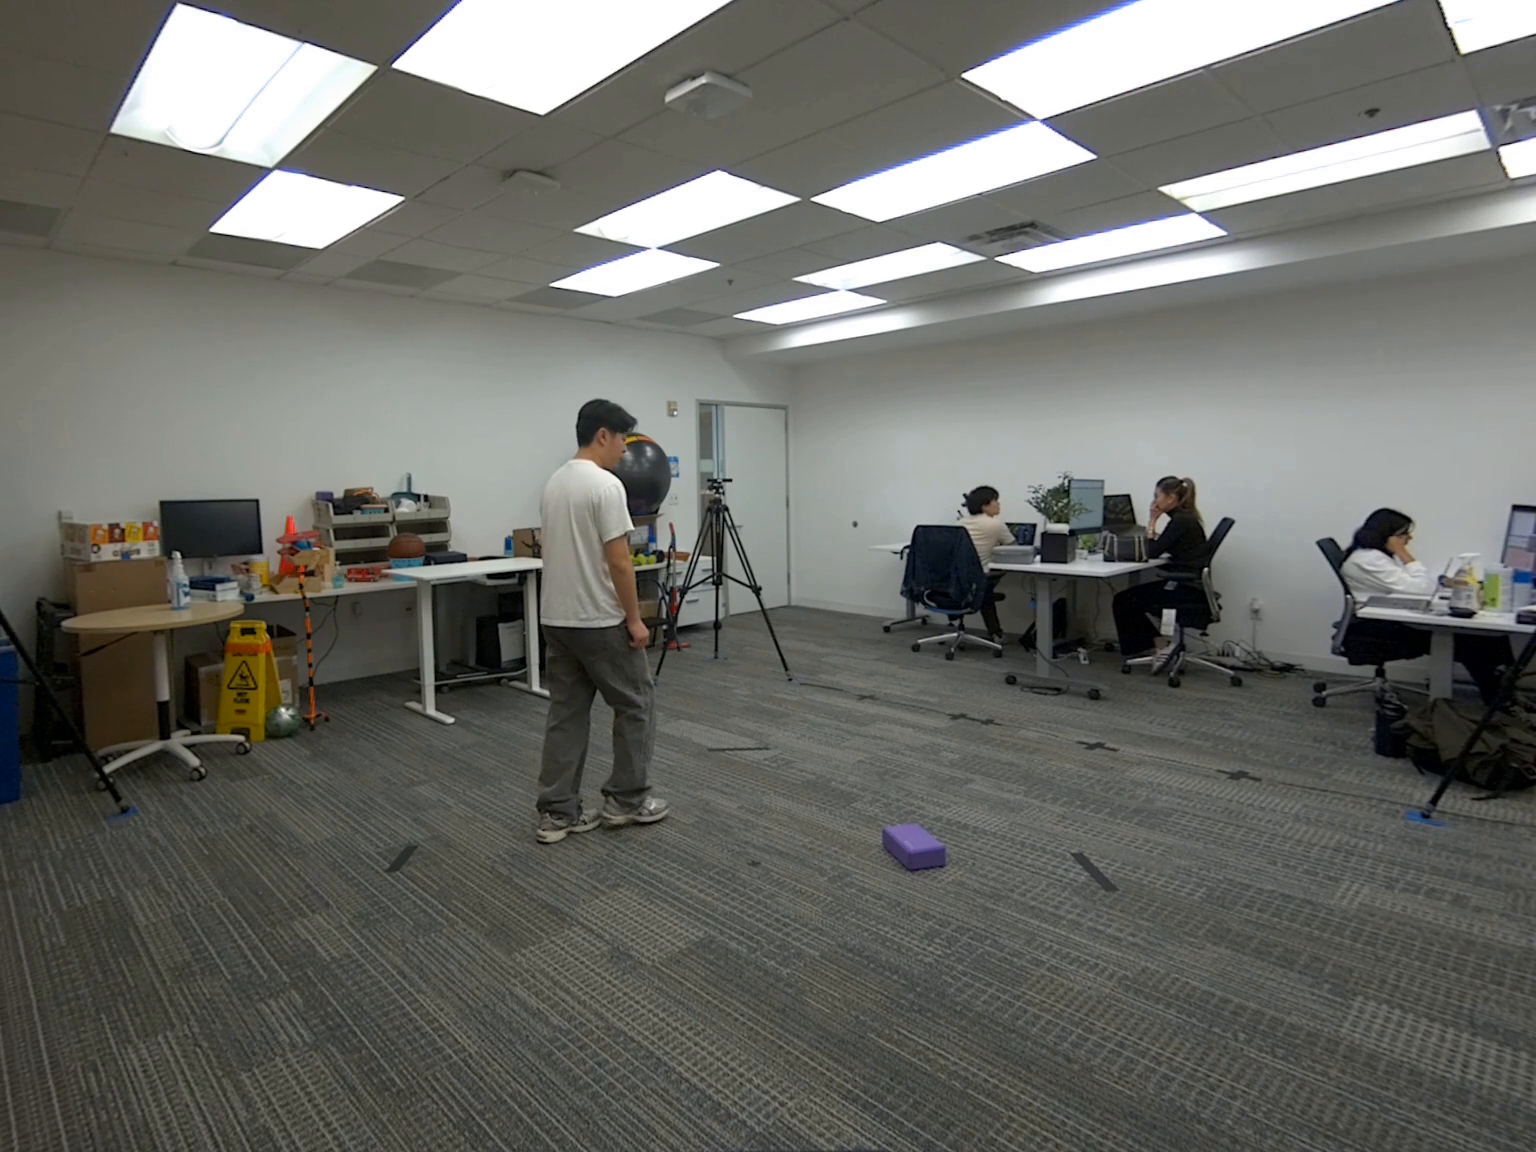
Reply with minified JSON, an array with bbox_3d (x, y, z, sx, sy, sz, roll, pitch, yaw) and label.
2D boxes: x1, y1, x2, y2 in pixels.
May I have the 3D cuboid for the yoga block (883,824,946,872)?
[{"bbox_3d":[0.537,0.991,3.143,0.147,0.076,0.233,-3,6,-16],"label":"yoga block"}]
